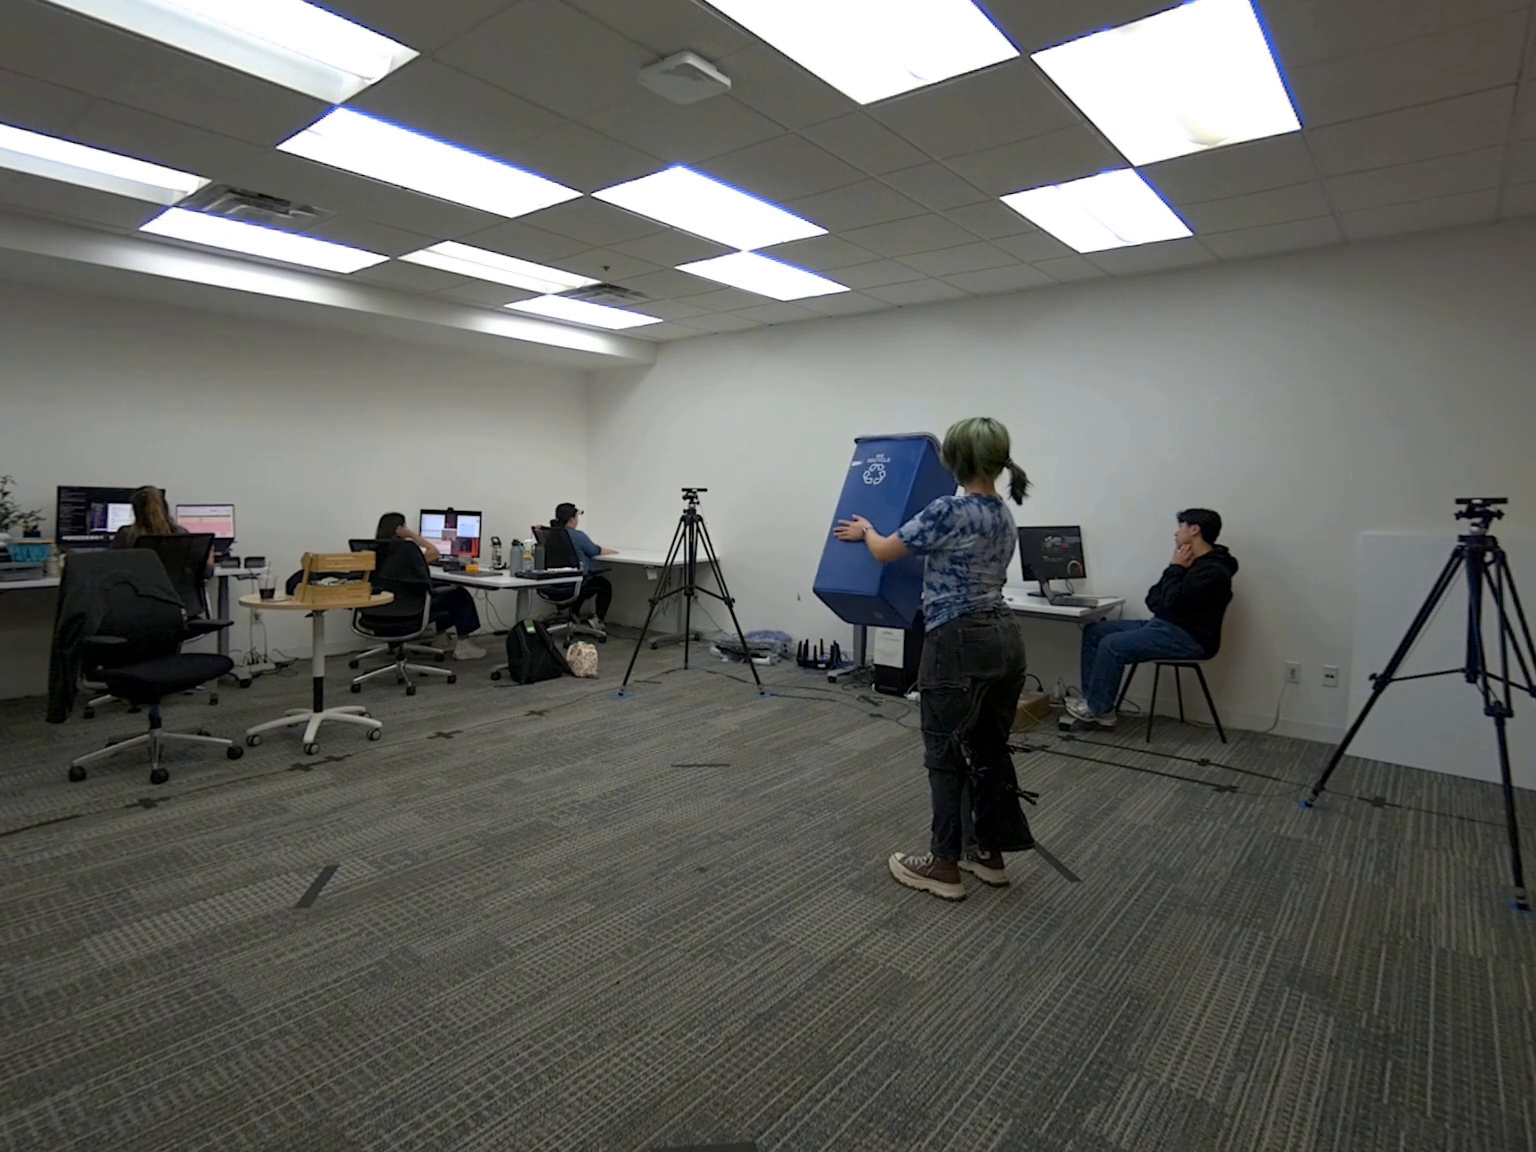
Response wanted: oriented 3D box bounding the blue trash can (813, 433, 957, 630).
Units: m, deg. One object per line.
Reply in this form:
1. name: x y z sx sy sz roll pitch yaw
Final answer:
1. blue trash can: 0.478 -0.181 3.436 0.386 0.721 0.362 2 -27 39
